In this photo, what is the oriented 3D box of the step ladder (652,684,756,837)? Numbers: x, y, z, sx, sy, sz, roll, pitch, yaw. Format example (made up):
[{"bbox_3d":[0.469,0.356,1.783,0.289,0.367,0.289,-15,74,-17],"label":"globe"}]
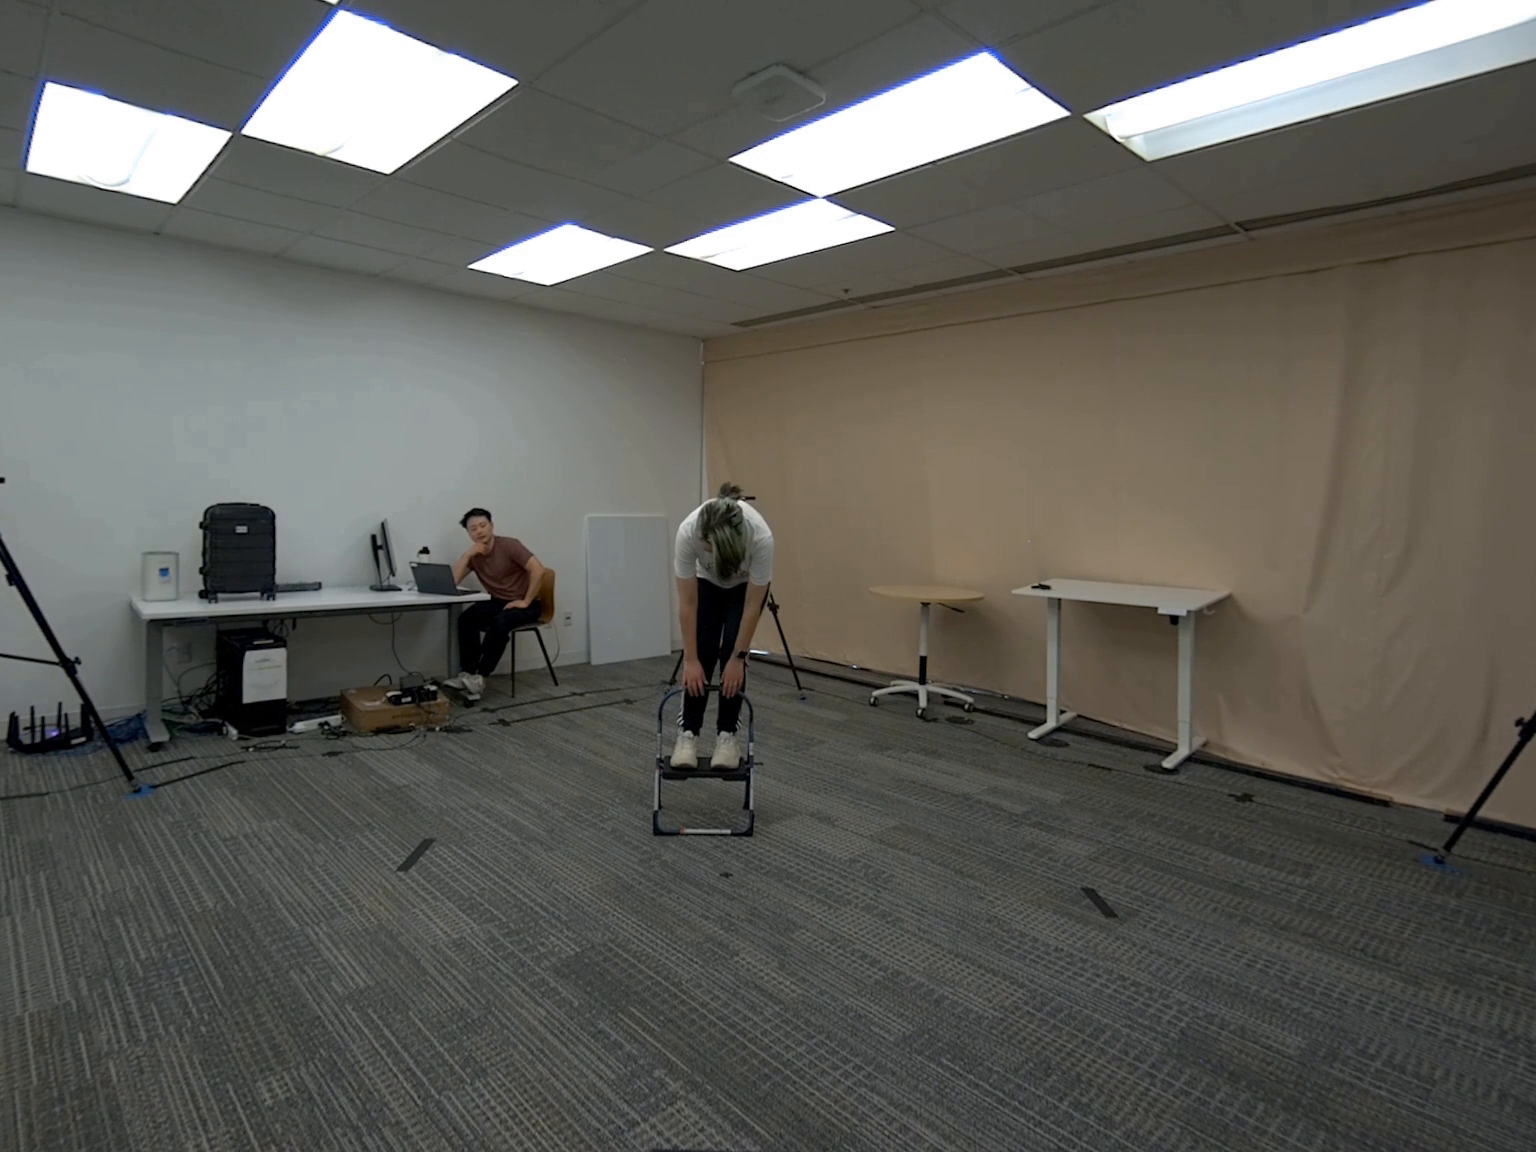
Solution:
[{"bbox_3d":[-0.282,0.758,3.613,0.429,0.605,0.351,1,2,-4],"label":"step ladder"}]
